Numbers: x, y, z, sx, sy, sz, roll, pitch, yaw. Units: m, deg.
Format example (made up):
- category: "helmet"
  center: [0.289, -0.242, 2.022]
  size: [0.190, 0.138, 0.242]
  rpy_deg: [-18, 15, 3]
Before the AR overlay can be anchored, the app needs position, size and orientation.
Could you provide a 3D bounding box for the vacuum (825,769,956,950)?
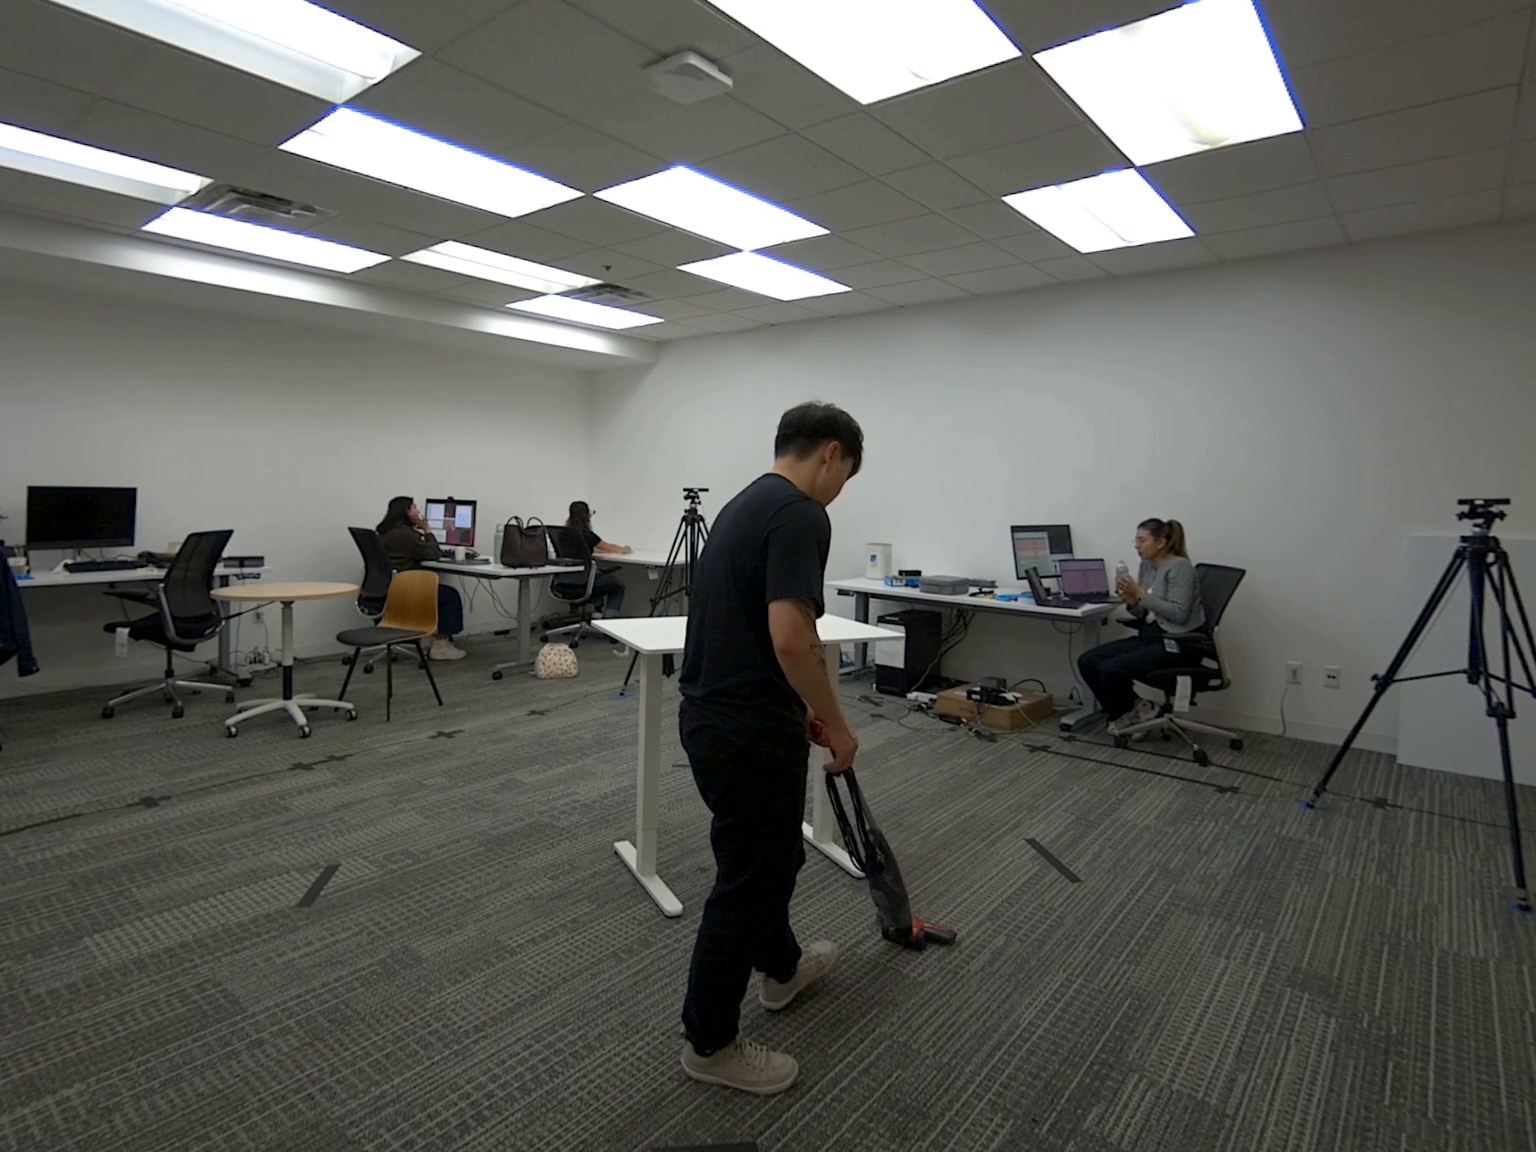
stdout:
- category: "vacuum"
  center: [0.286, 0.757, 2.395]
  size: [0.260, 1.010, 0.145]
  rpy_deg: [2, 44, 30]
